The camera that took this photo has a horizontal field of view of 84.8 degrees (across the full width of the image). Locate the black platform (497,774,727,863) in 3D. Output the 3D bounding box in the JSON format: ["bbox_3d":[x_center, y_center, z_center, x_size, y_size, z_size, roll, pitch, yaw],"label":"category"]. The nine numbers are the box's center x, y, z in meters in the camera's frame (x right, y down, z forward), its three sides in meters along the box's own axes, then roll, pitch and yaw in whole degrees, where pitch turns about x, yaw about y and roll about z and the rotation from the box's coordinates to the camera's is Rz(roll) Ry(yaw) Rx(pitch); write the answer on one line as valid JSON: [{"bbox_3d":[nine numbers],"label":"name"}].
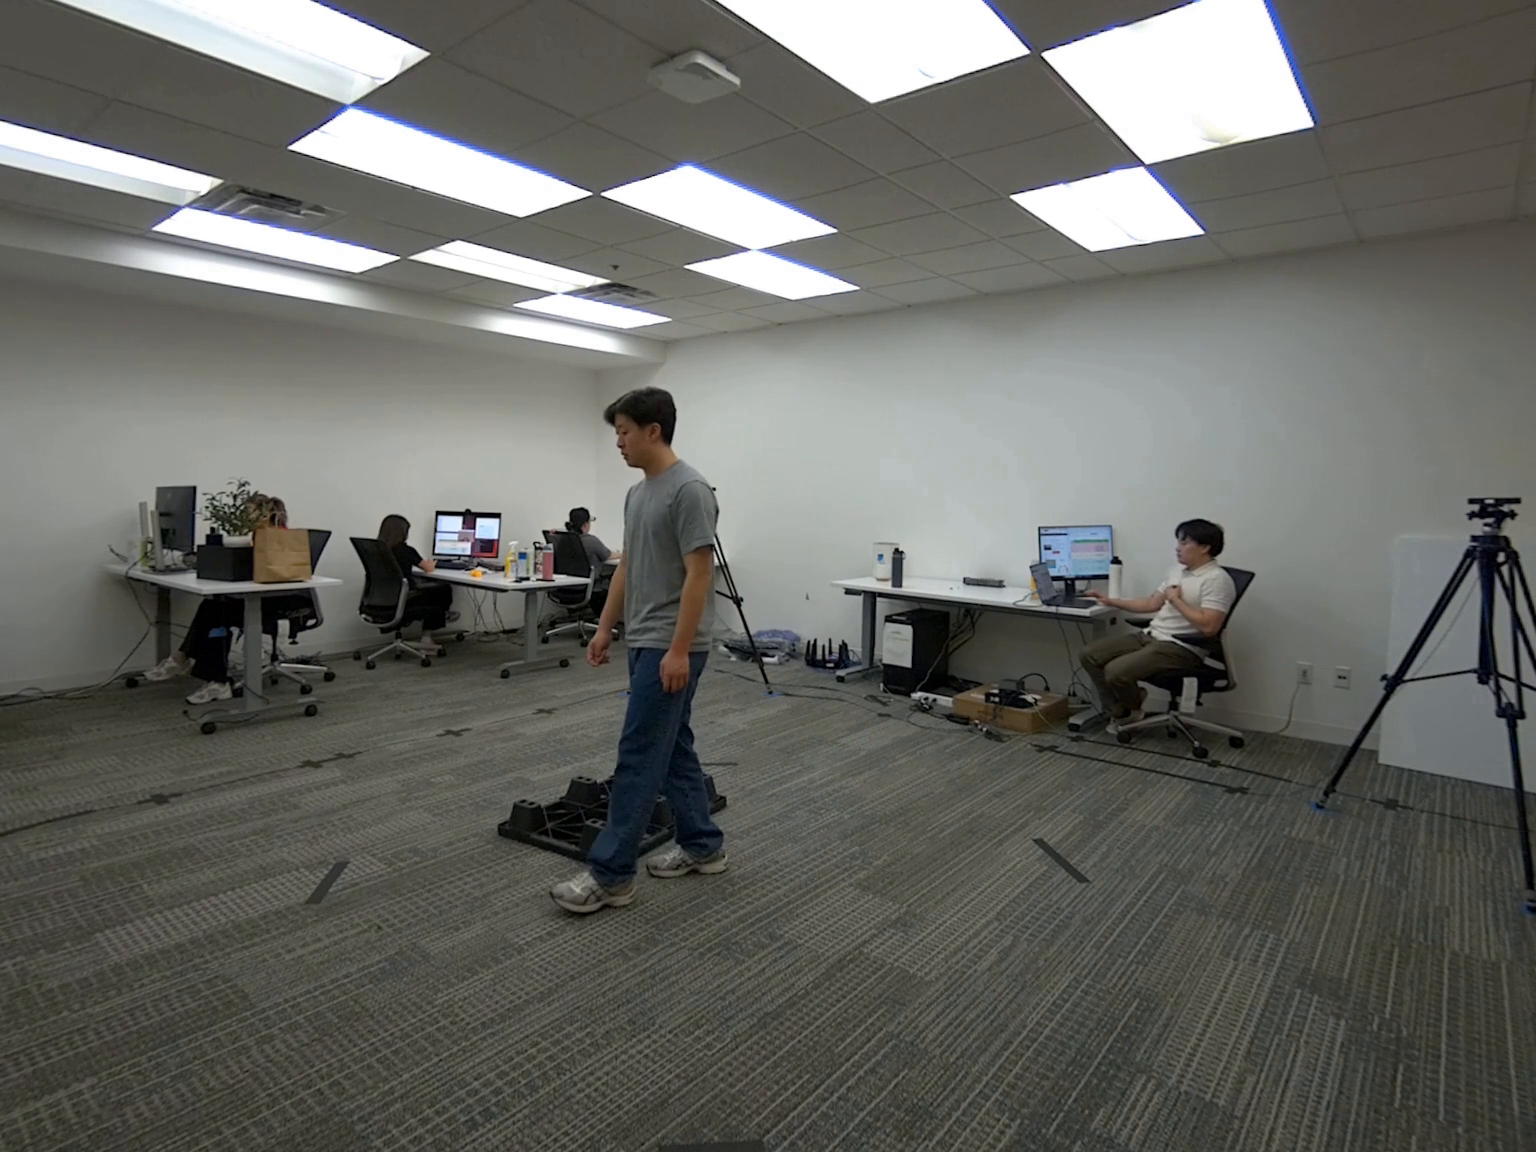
[{"bbox_3d":[-0.642,0.949,3.558,0.623,0.143,0.785,5,6,30],"label":"black platform"}]
